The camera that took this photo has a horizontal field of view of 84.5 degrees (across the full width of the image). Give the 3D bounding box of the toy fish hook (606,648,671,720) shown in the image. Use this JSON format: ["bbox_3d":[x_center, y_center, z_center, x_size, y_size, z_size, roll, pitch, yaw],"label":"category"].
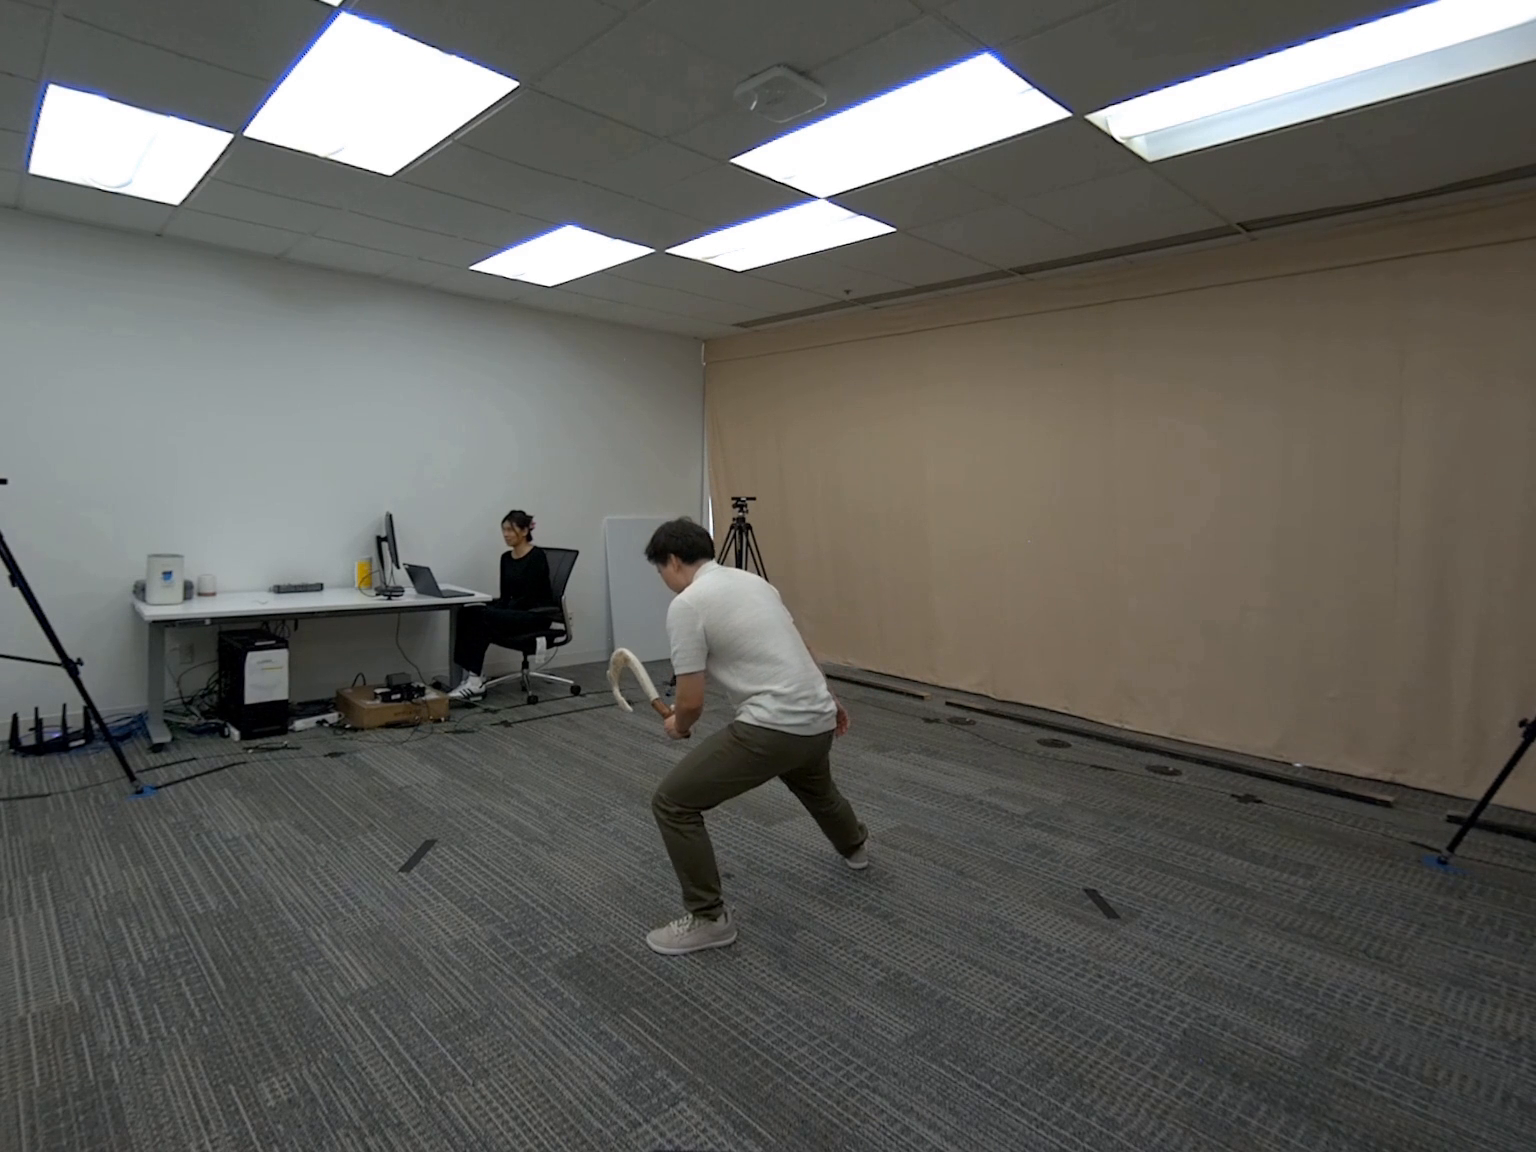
[{"bbox_3d":[-0.447,0.463,3.053,0.047,0.222,0.523,-8,36,-38],"label":"toy fish hook"}]
